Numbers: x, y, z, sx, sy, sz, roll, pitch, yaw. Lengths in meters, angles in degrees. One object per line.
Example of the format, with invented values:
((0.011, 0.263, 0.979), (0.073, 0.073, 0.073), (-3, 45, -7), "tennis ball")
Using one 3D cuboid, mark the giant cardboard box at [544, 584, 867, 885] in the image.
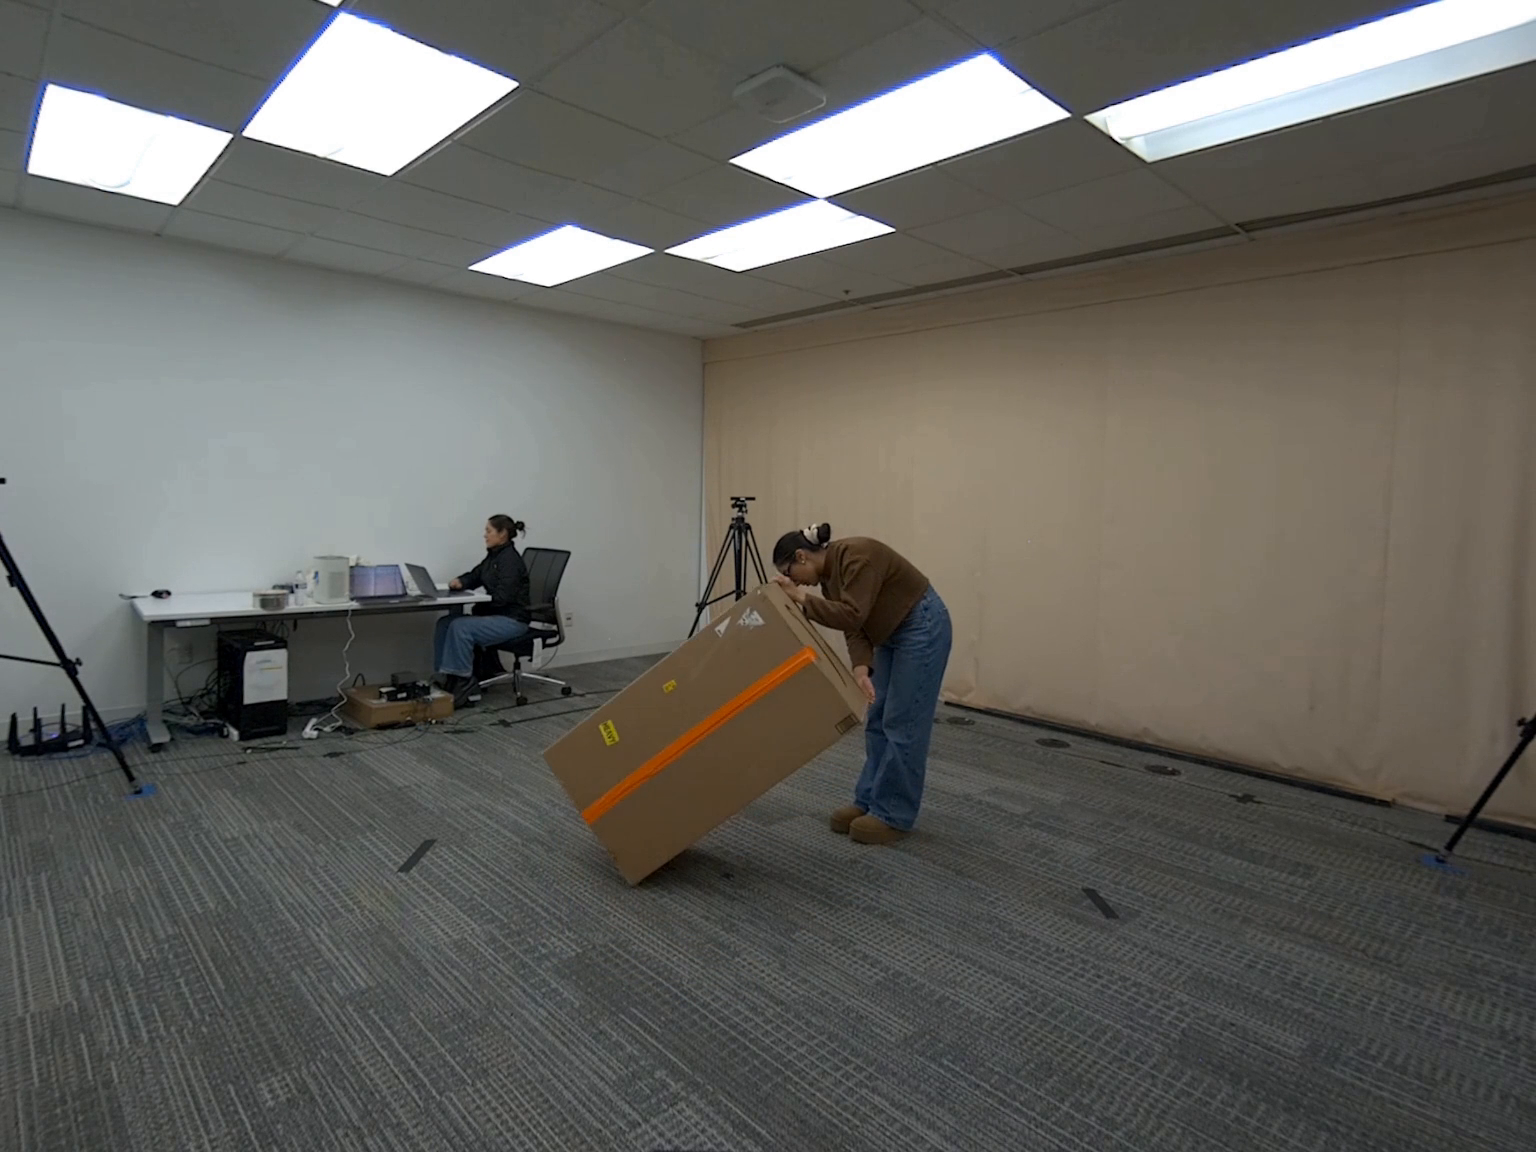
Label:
((-0.224, 0.563, 3.124), (1.028, 0.588, 0.443), (-38, -6, 9), "giant cardboard box")
